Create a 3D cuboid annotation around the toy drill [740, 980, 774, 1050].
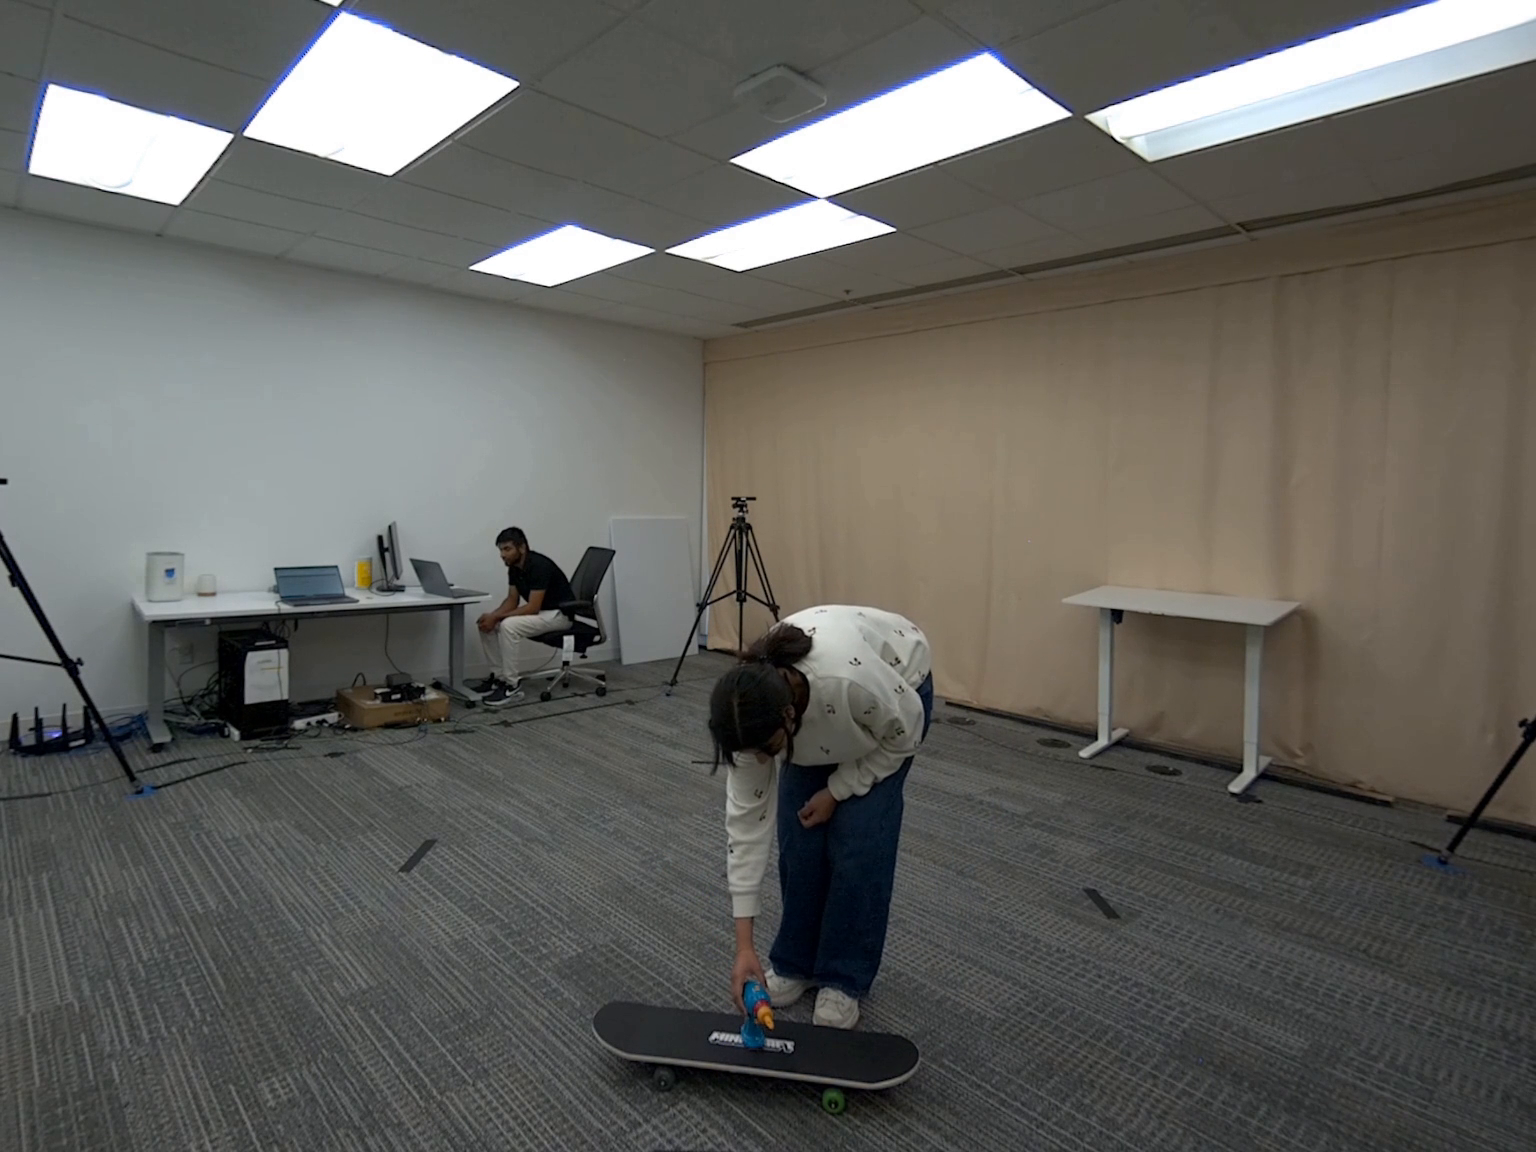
[{"bbox_3d":[-0.044,1.059,1.967,0.060,0.145,0.173,-5,7,-17],"label":"toy drill"}]
